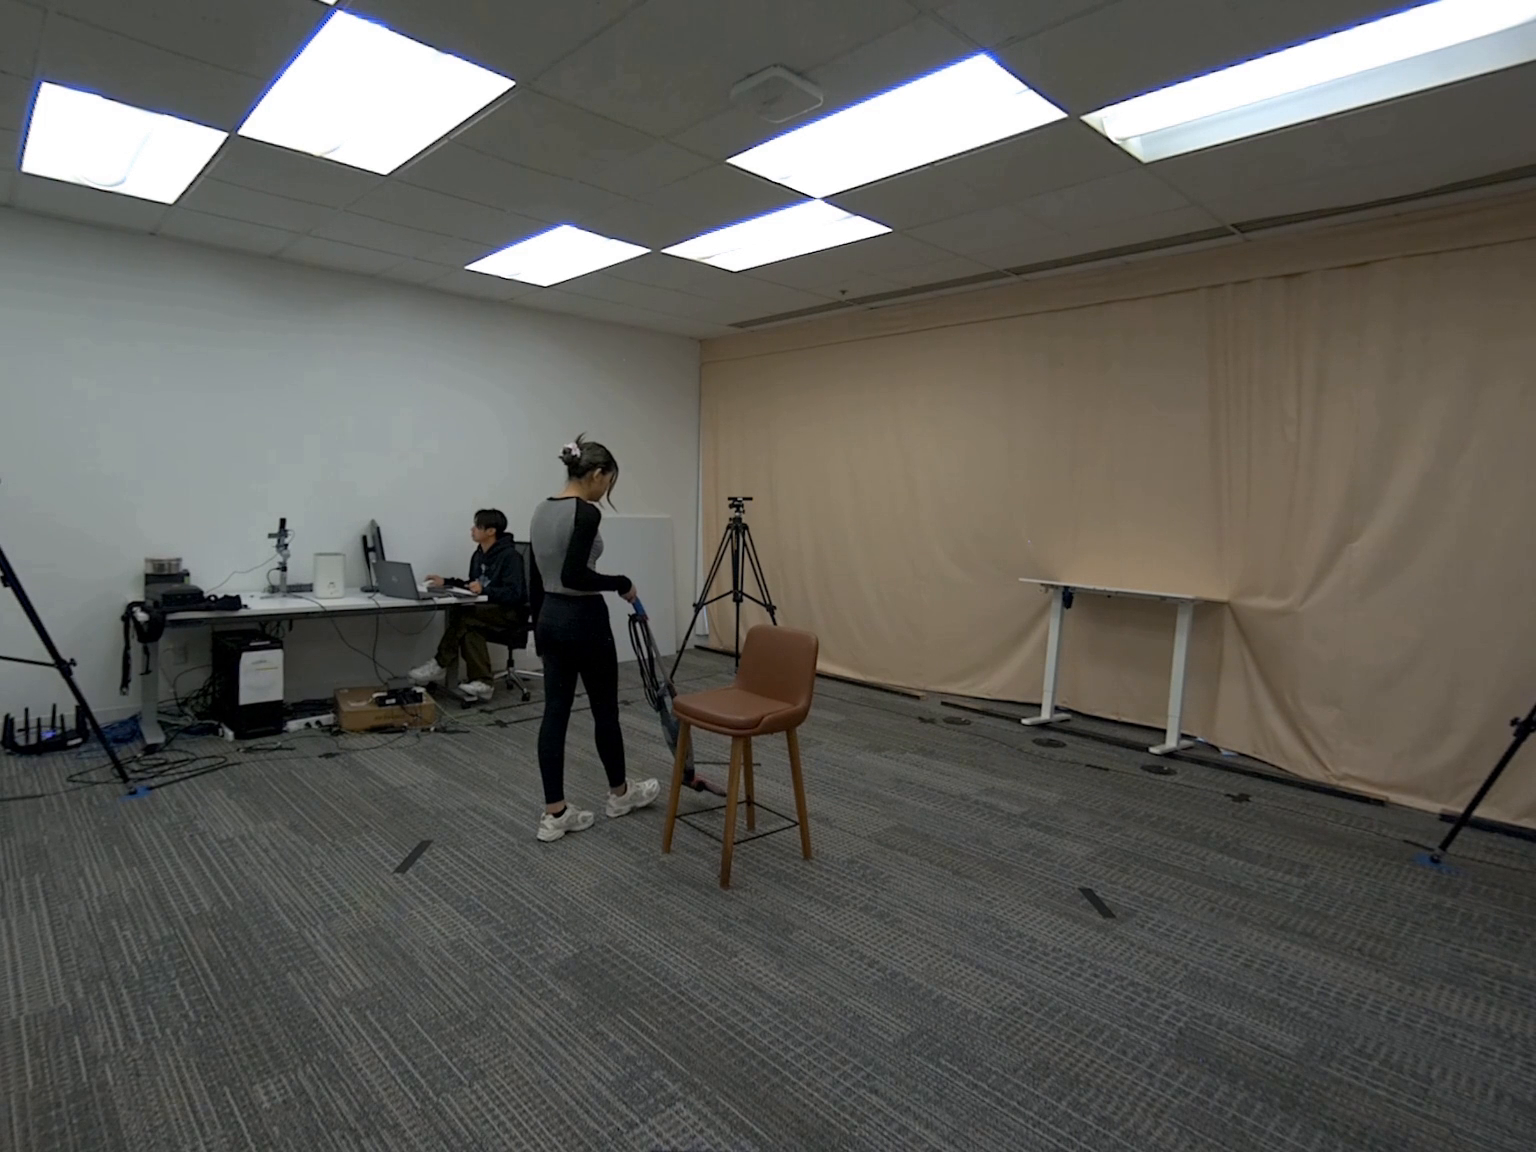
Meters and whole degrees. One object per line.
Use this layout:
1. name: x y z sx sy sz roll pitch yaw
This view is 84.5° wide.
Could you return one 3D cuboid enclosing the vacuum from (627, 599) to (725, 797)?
1. vacuum: -0.462 0.495 3.617 0.259 1.030 0.143 7 30 46
